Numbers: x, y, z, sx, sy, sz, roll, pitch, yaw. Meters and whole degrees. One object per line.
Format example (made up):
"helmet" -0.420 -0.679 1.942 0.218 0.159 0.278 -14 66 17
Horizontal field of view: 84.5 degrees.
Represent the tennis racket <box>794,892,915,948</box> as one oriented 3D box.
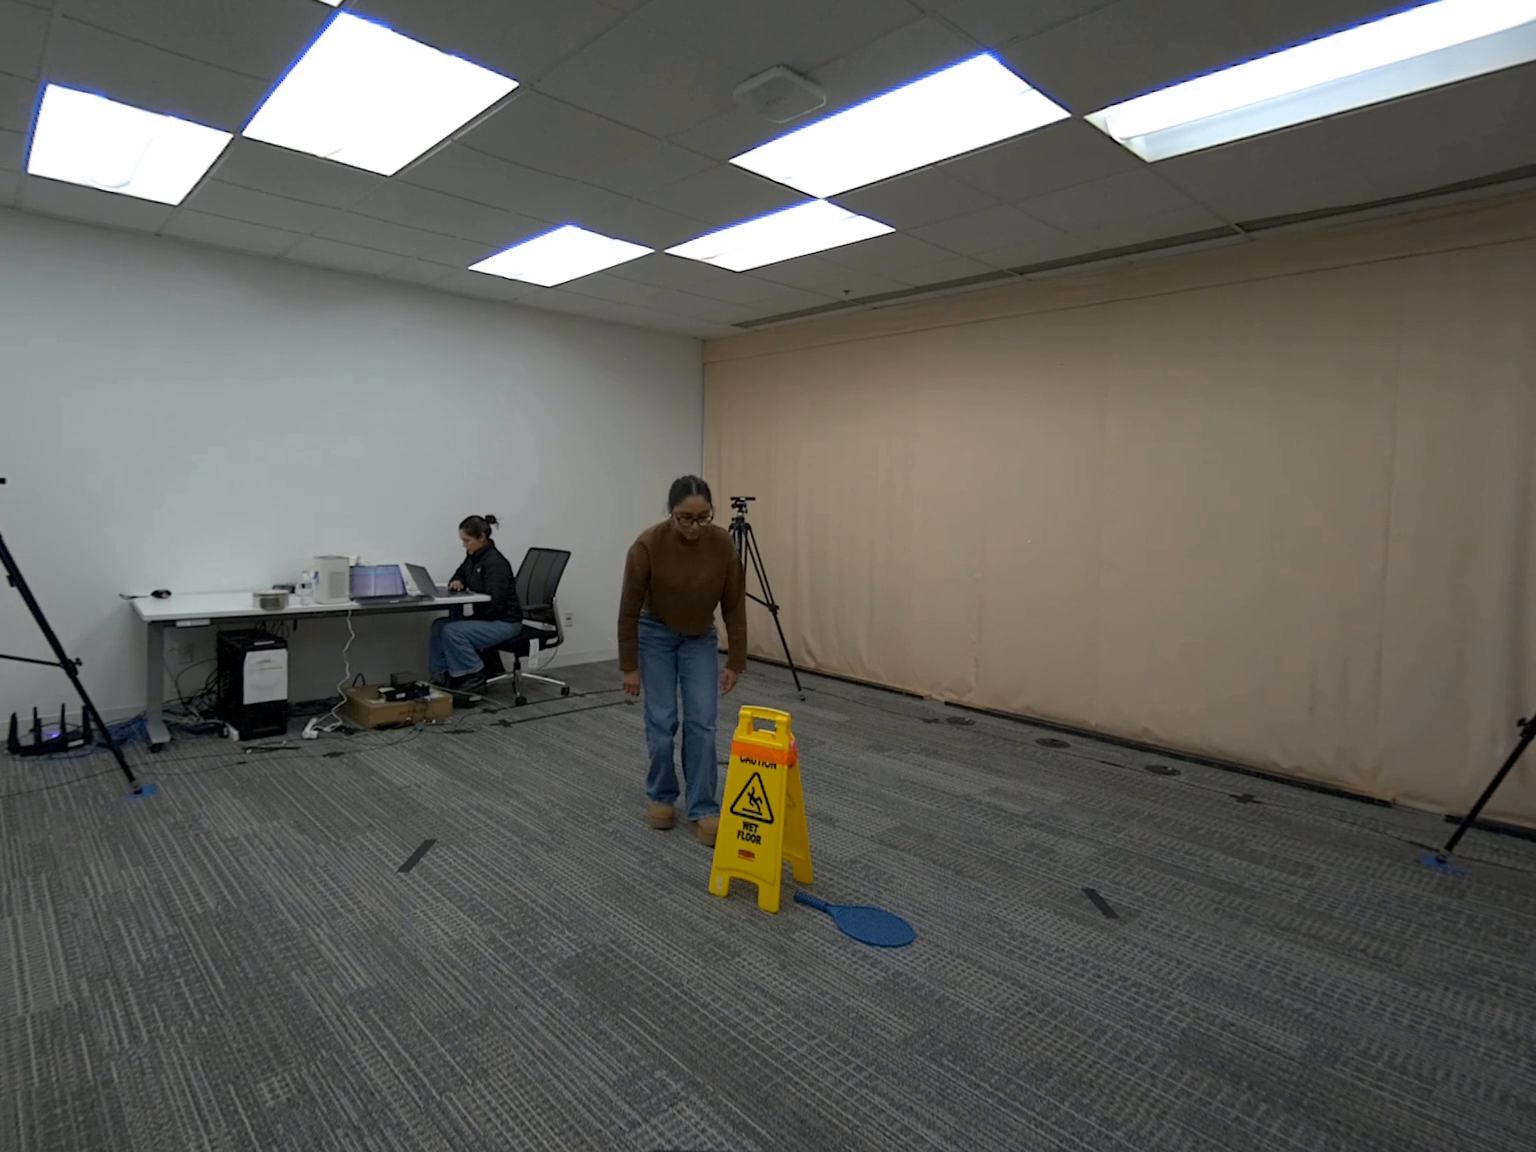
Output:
"tennis racket" 0.267 1.128 2.798 0.443 0.031 0.209 7 8 35
